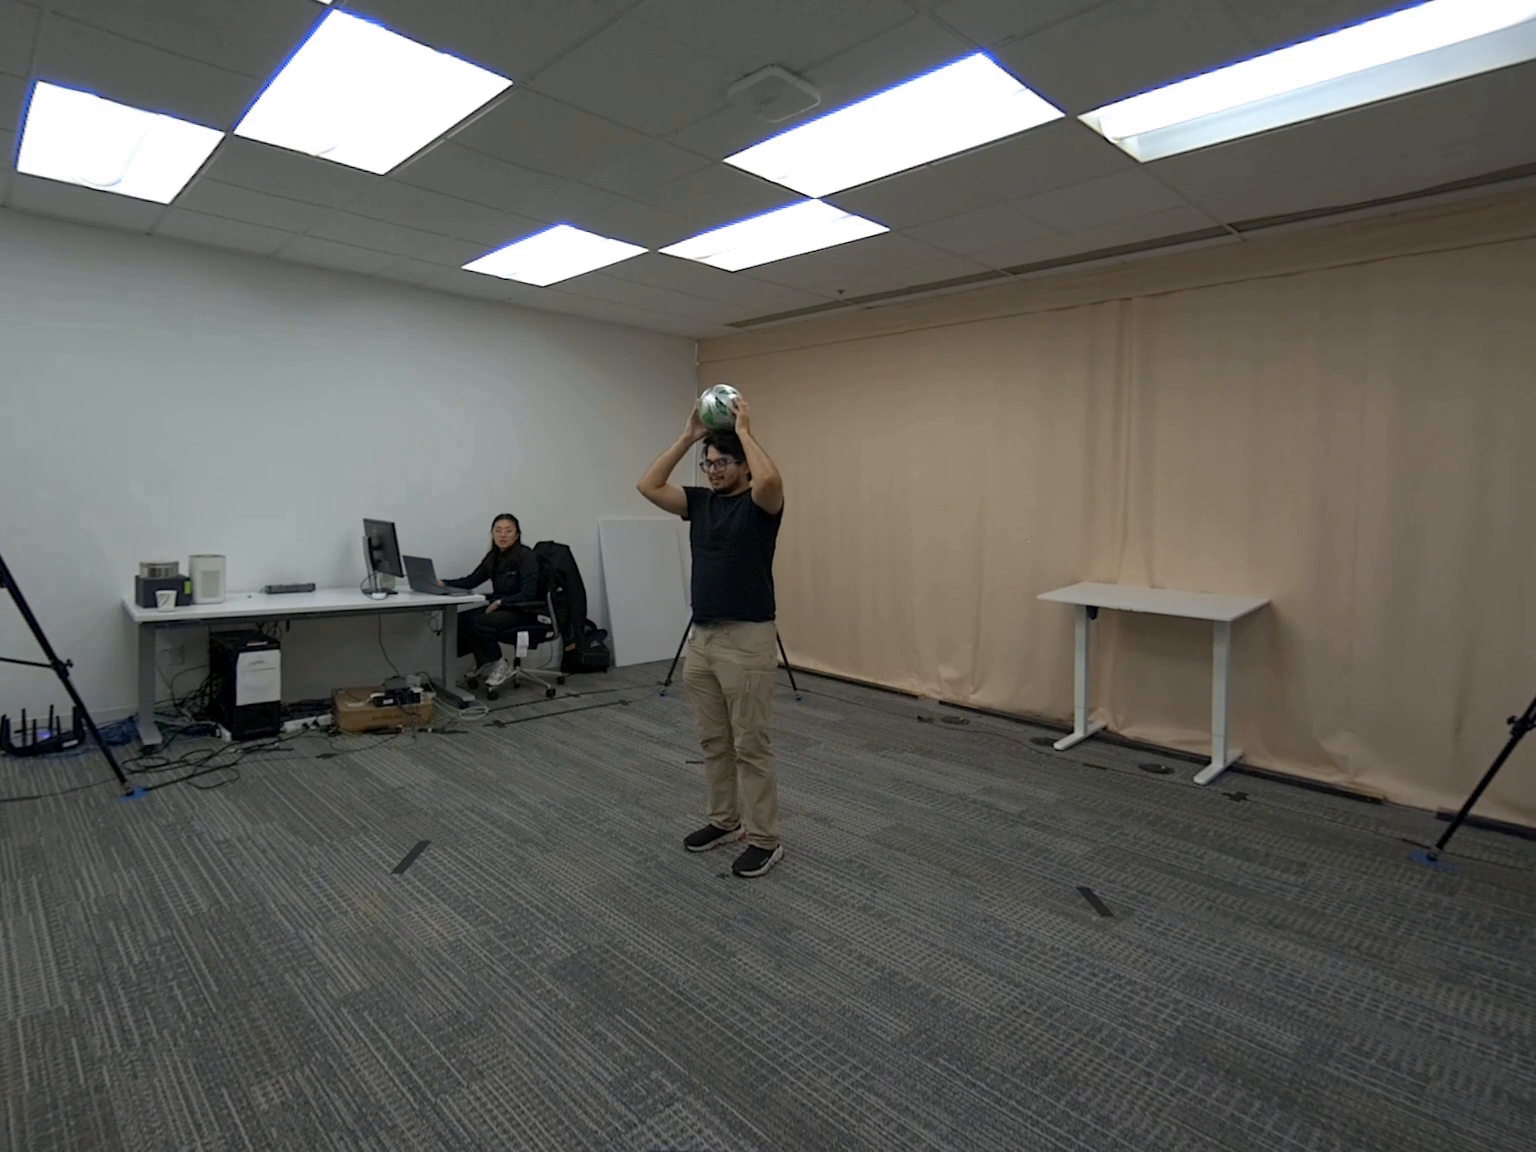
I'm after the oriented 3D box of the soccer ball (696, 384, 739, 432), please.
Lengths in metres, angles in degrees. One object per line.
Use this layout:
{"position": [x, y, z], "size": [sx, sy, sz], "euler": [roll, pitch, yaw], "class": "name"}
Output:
{"position": [-0.187, -0.640, 3.251], "size": [0.187, 0.187, 0.188], "euler": [1, 4, -1], "class": "soccer ball"}
